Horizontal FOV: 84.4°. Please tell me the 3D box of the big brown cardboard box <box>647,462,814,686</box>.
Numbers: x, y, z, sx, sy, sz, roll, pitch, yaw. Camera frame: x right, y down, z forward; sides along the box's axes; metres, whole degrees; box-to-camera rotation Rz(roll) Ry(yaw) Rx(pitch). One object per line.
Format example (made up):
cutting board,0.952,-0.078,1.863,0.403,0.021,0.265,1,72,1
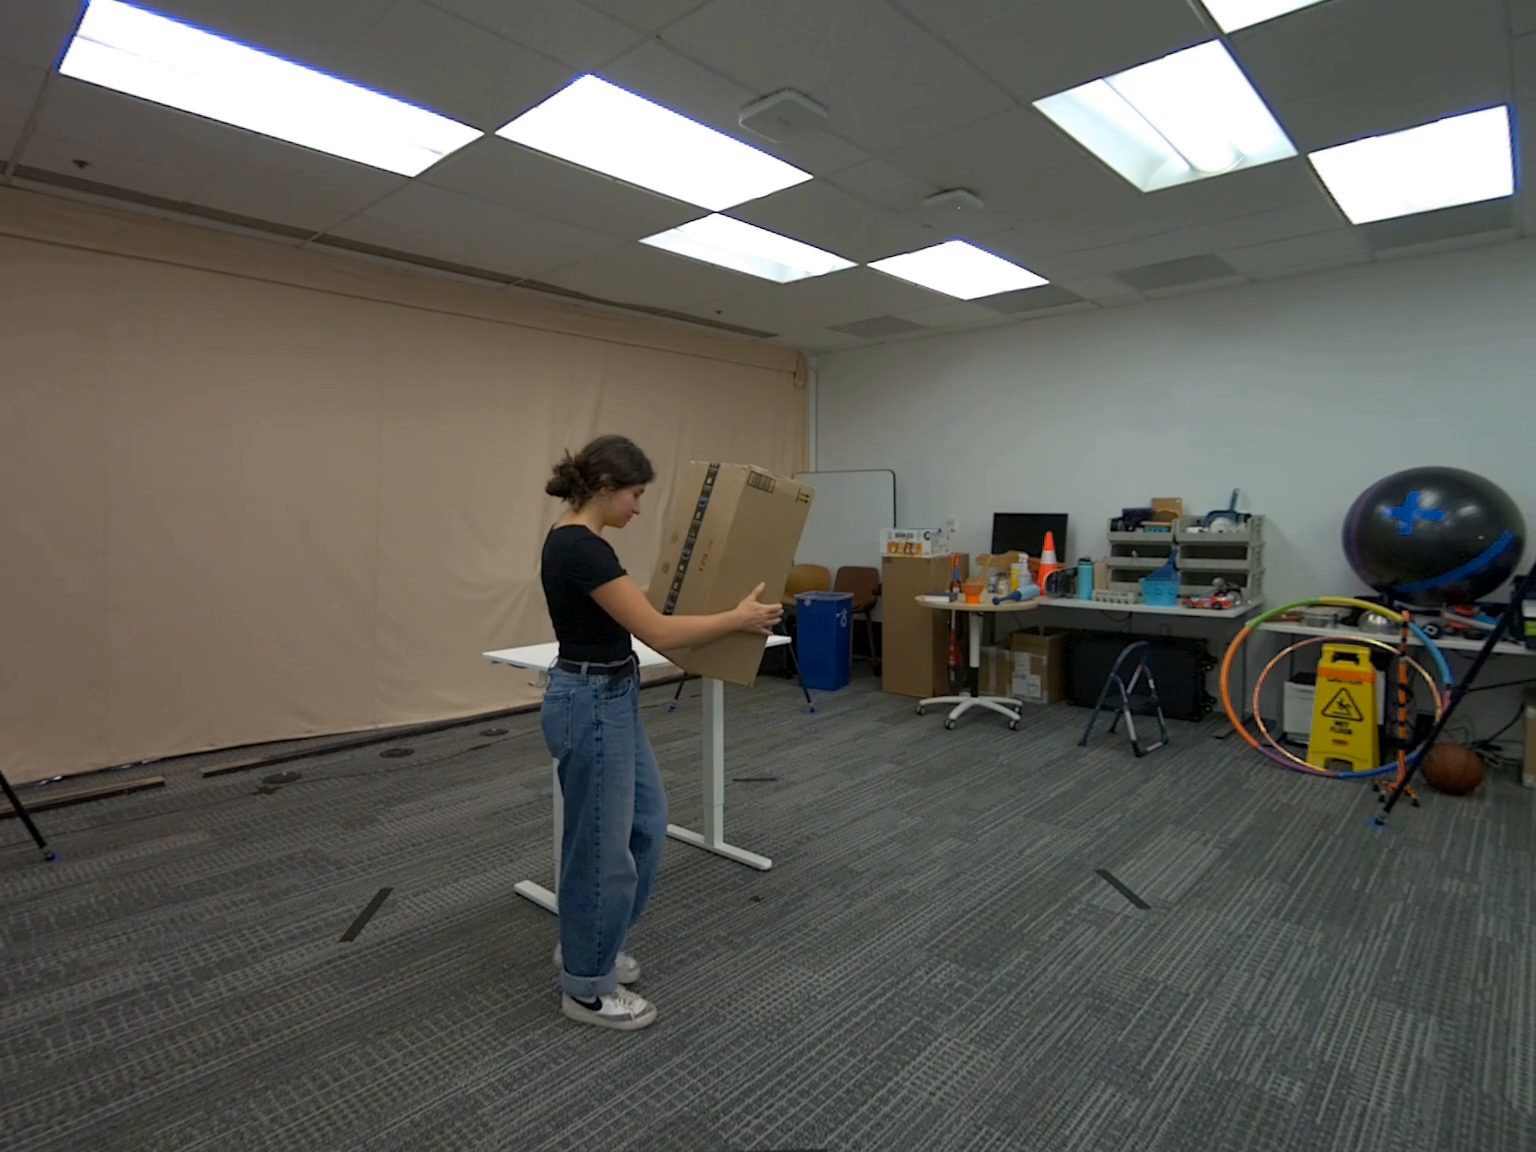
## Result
big brown cardboard box,-0.134,-0.029,2.420,0.226,0.589,0.430,18,0,-28
